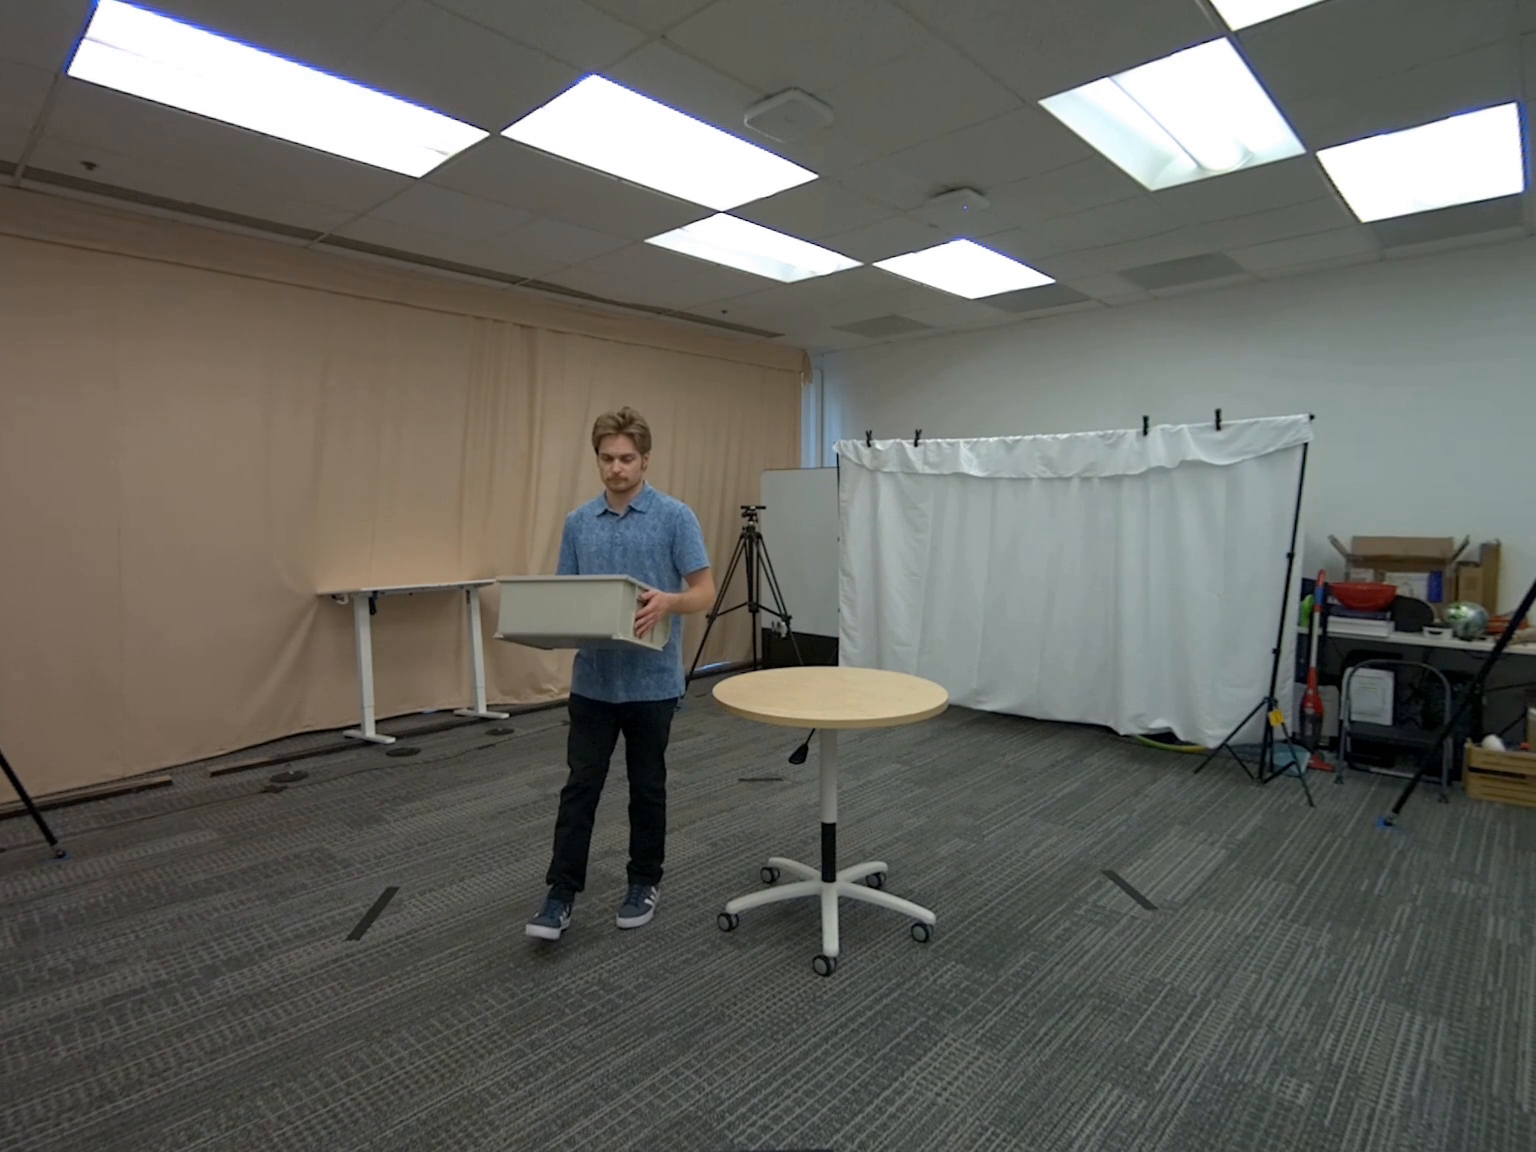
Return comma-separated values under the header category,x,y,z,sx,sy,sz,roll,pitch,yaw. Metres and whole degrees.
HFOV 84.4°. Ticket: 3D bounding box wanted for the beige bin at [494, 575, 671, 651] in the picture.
category,x,y,z,sx,sy,sz,roll,pitch,yaw
beige bin,-0.554,0.122,2.556,0.429,0.190,0.369,-1,-10,14
